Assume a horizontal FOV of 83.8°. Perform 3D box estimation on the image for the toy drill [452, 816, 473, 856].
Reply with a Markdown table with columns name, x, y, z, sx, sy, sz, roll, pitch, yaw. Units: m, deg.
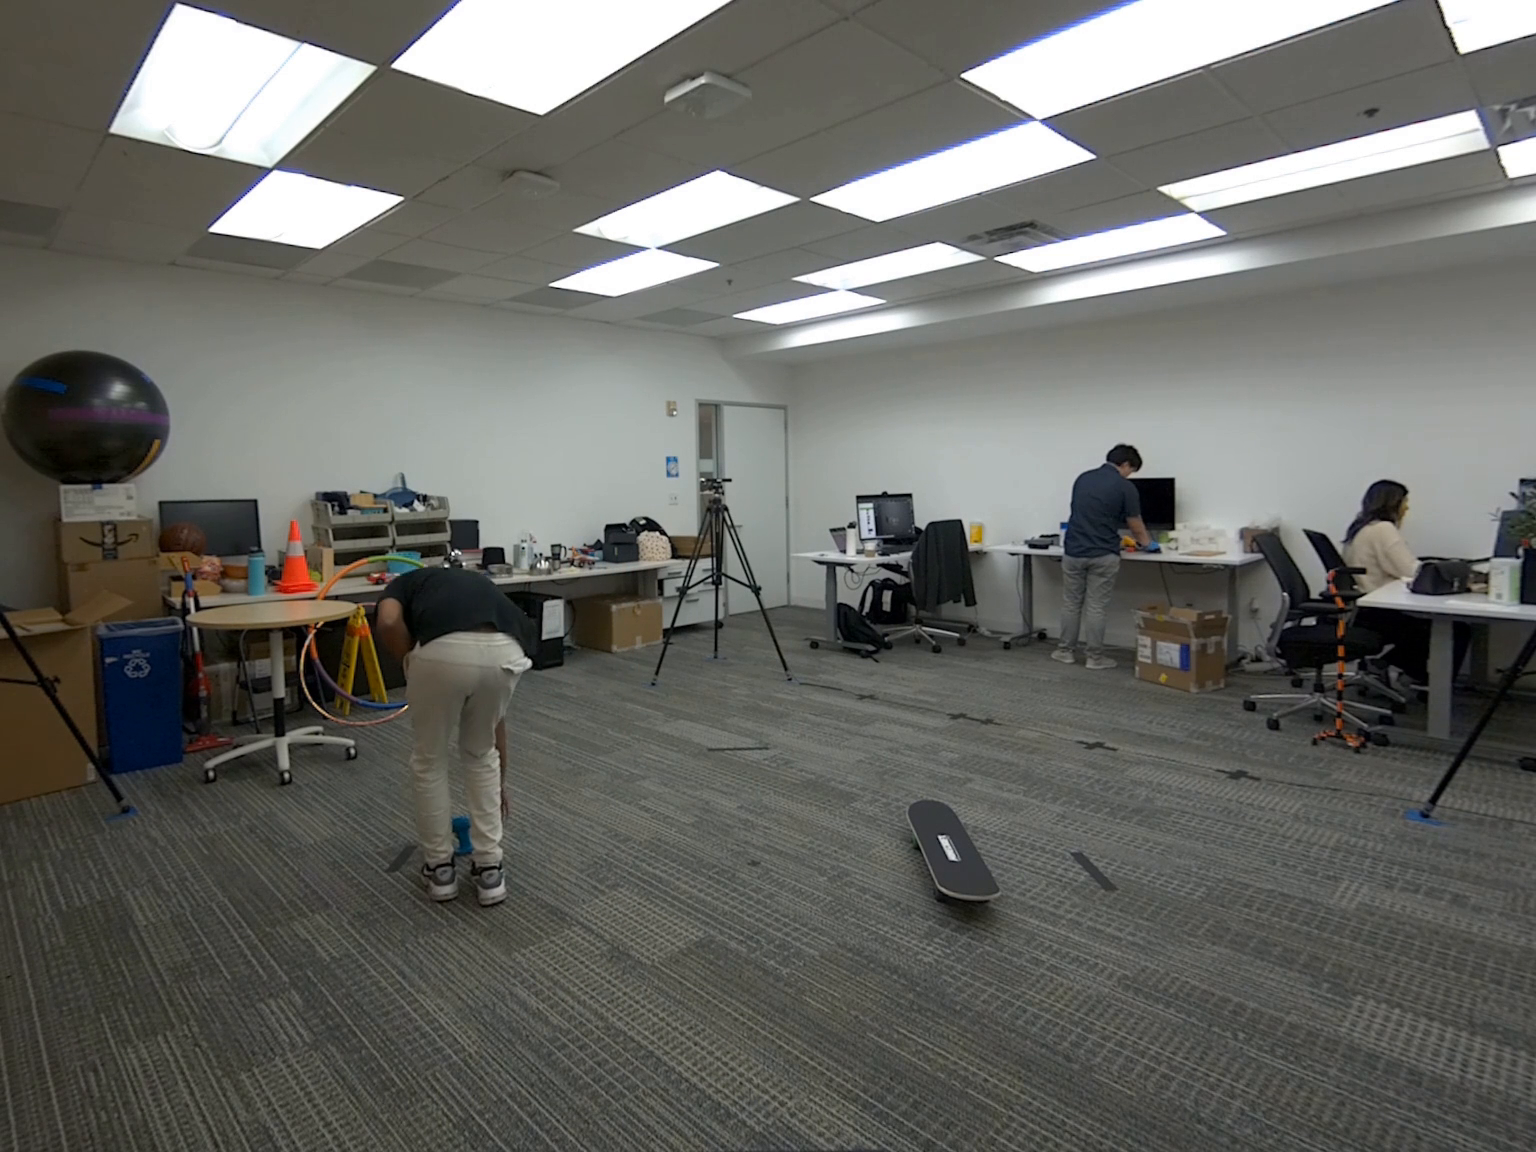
| name | x | y | z | sx | sy | sz | roll | pitch | yaw |
| --- | --- | --- | --- | --- | --- | --- | --- | --- | --- |
| toy drill | -1.196 | 0.985 | 3.240 | 0.167 | 0.146 | 0.062 | -5 | 2 | -17 |
